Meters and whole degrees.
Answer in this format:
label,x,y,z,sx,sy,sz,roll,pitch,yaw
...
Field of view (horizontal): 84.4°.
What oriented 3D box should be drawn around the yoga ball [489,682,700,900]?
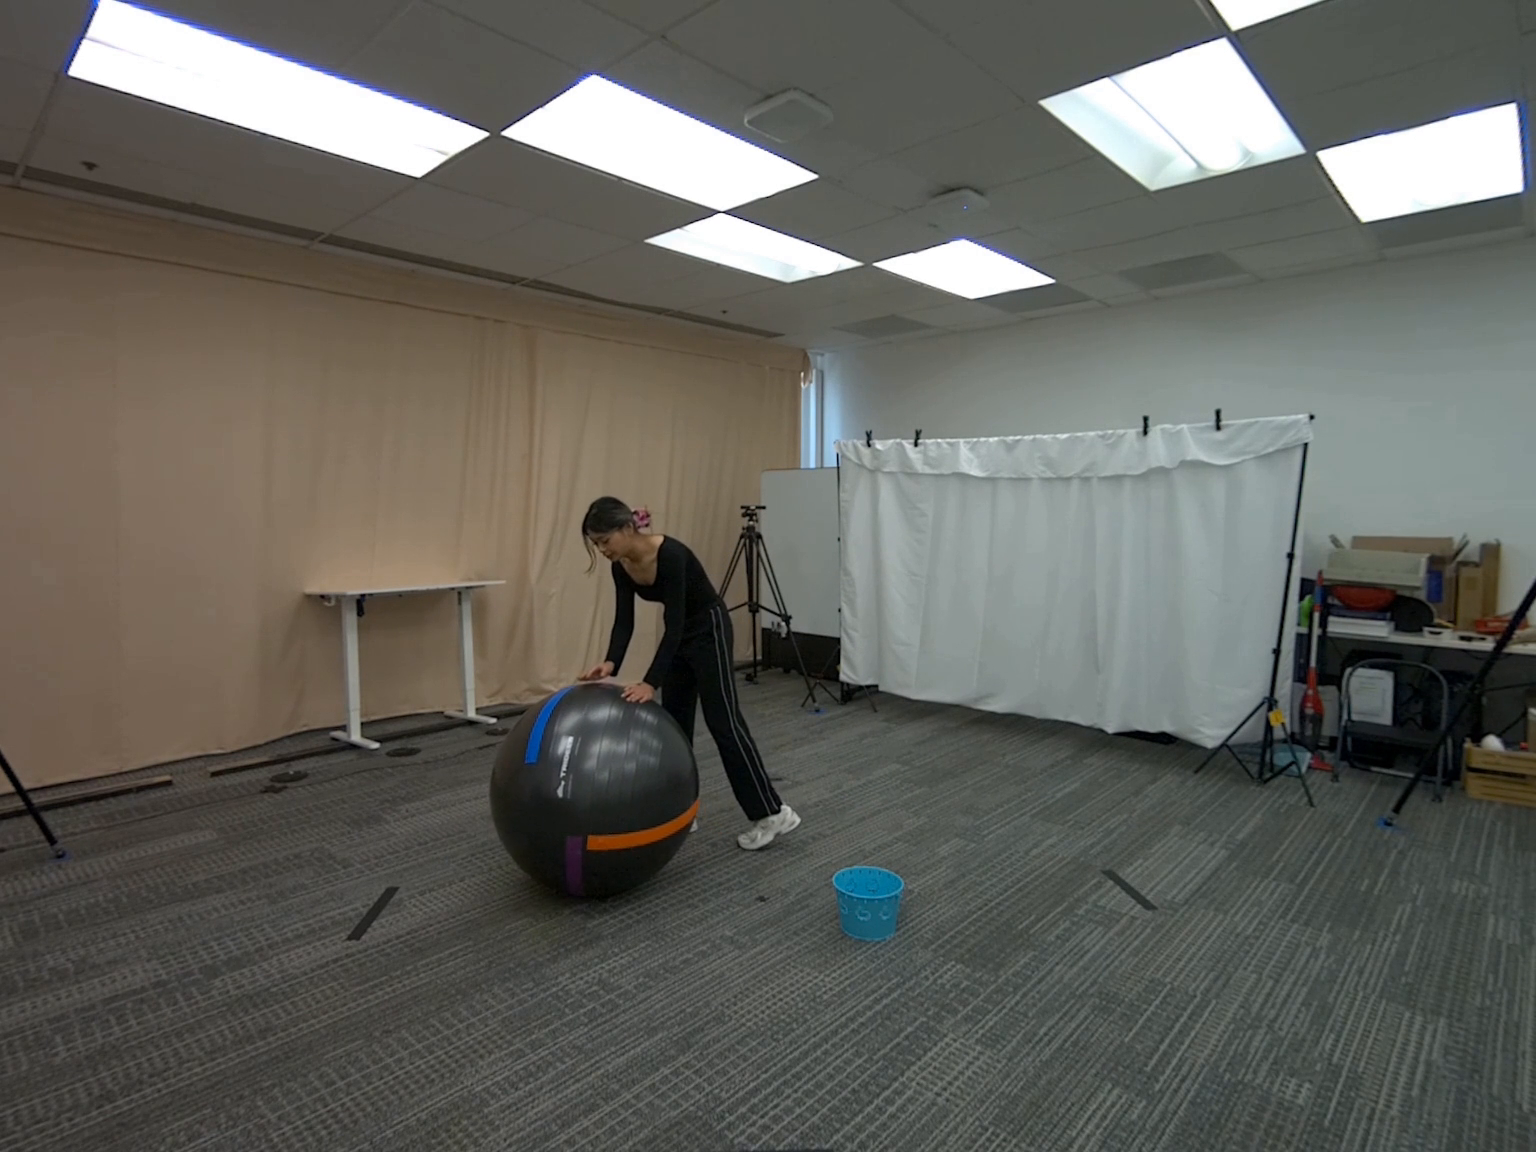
label,x,y,z,sx,sy,sz,roll,pitch,yaw
yoga ball,-0.638,0.778,3.106,0.757,0.756,0.760,0,4,-2
